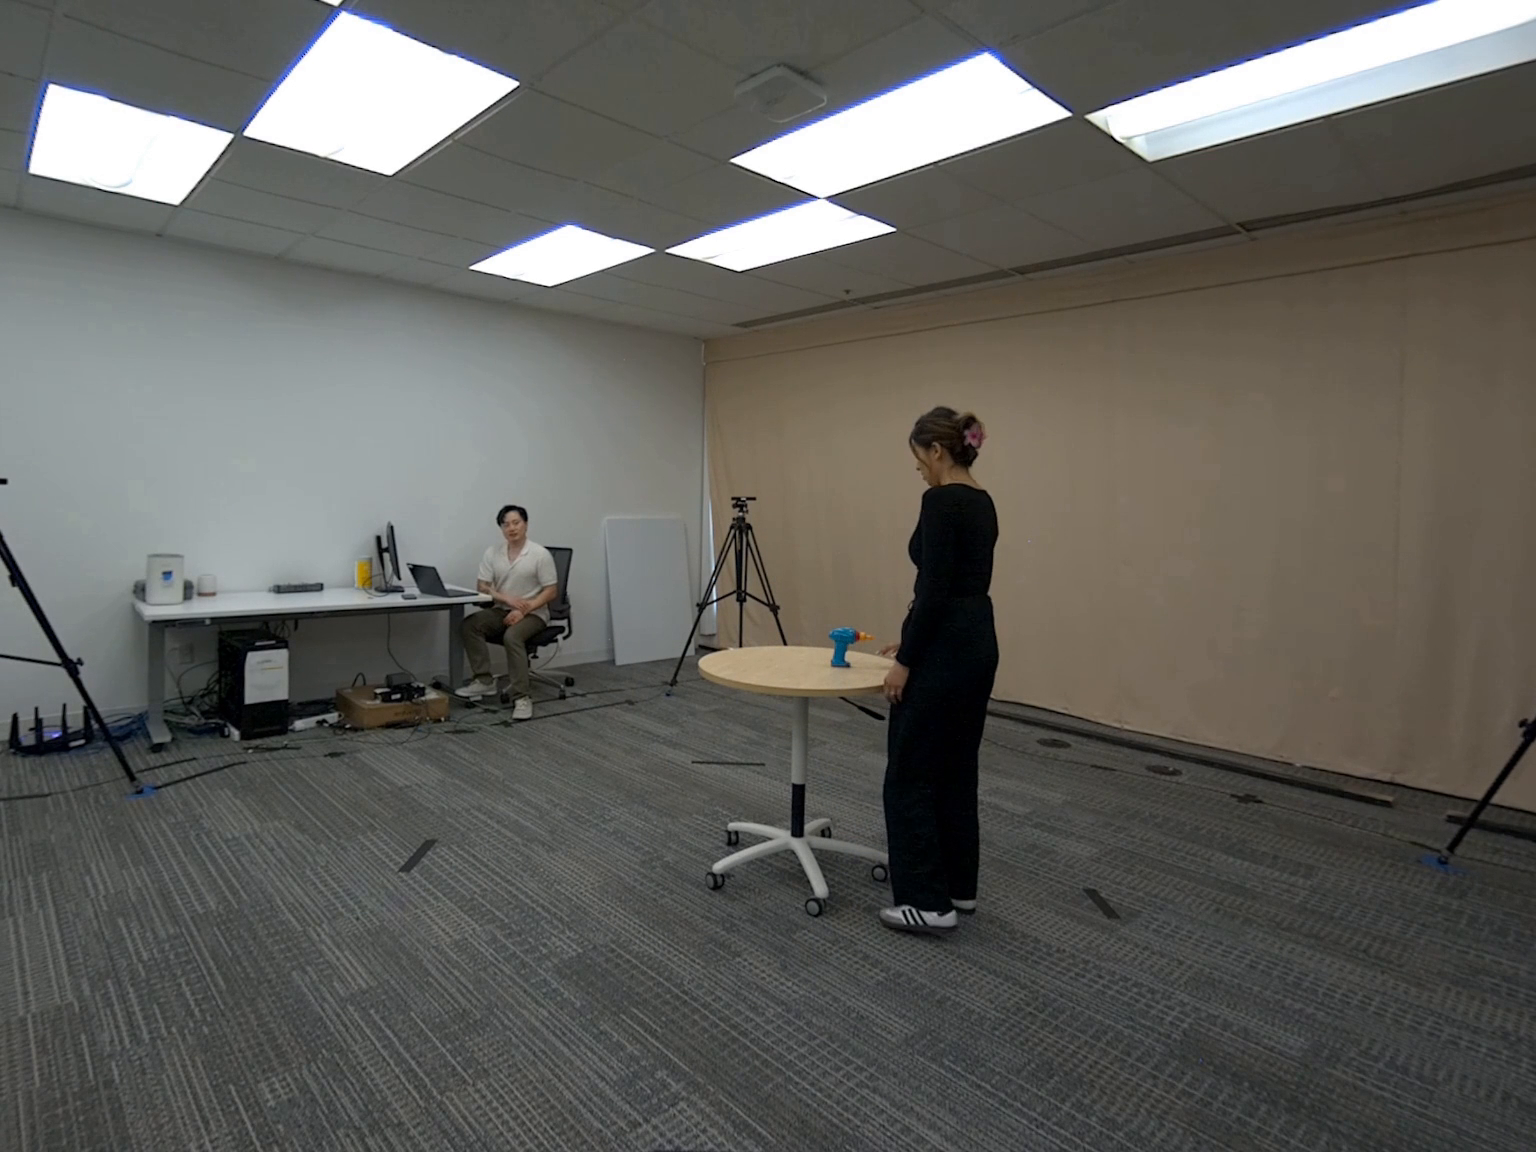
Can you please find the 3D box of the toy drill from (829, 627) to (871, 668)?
[{"bbox_3d":[0.307,0.265,3.091,0.170,0.145,0.061,4,9,4],"label":"toy drill"}]
